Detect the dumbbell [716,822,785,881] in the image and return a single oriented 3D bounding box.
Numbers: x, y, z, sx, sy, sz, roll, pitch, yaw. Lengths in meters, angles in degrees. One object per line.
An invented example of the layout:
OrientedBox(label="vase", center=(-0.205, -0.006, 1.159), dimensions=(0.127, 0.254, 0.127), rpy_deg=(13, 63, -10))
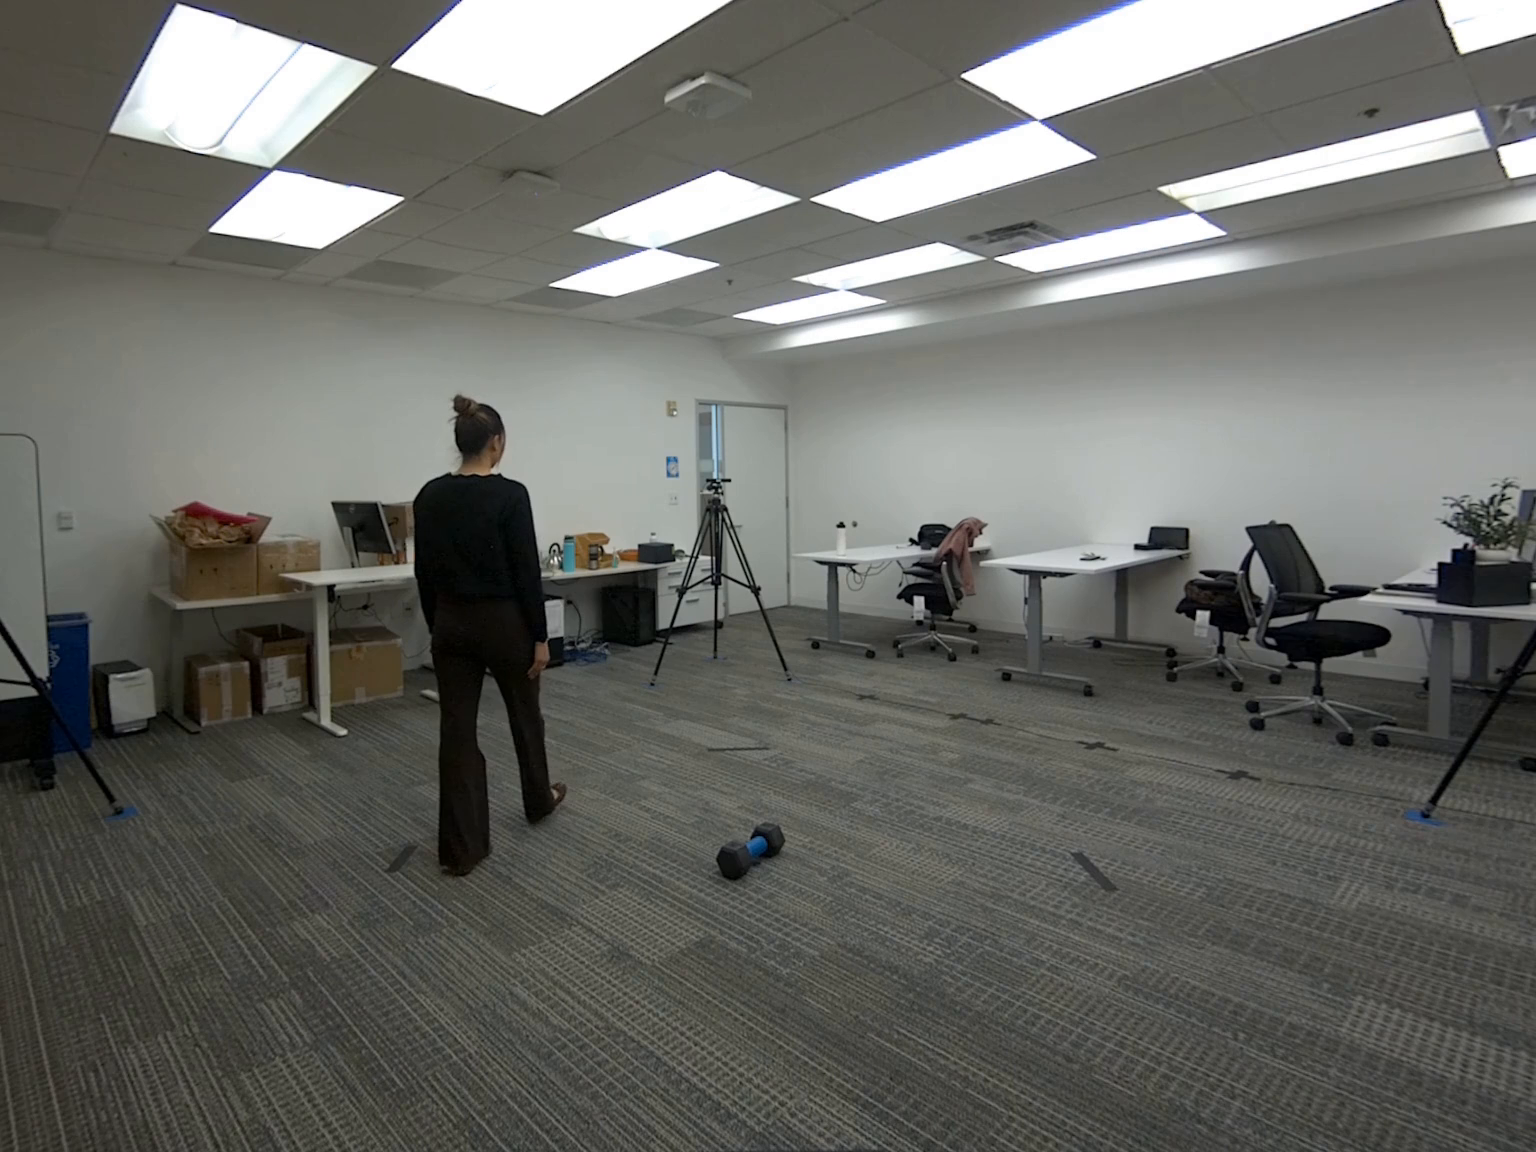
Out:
OrientedBox(label="dumbbell", center=(-0.056, 0.986, 3.094), dimensions=(0.112, 0.122, 0.286), rpy_deg=(35, 24, 27))
